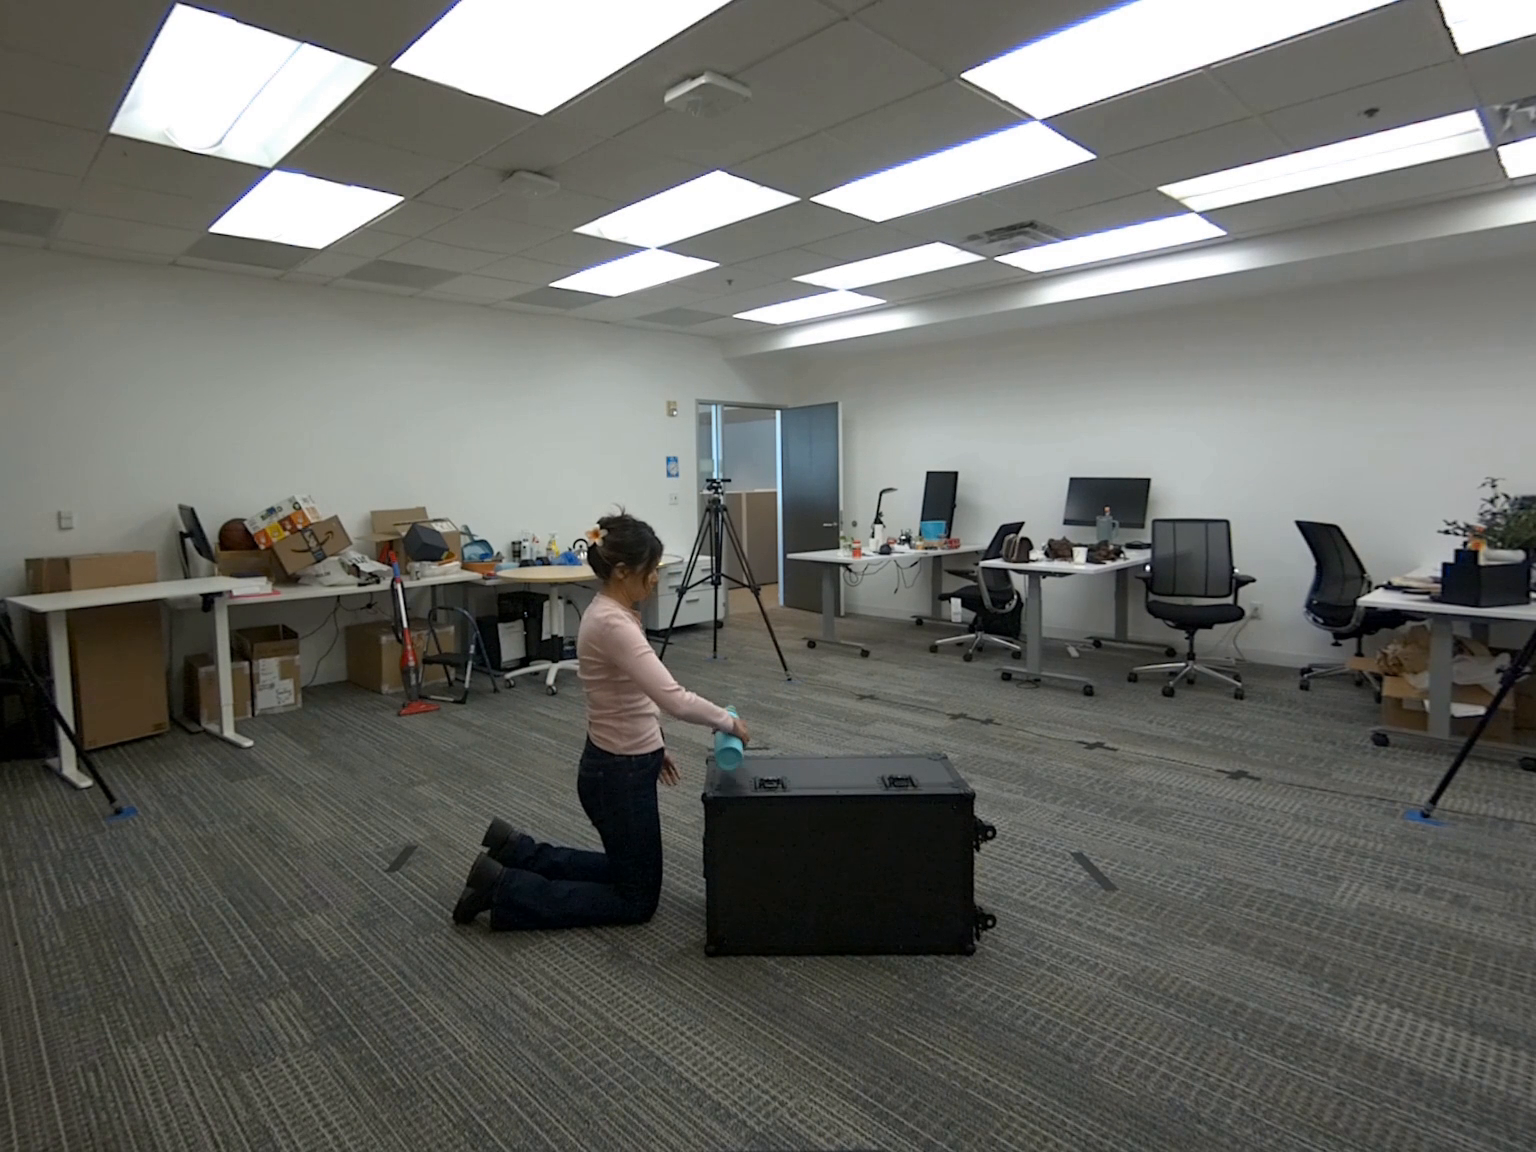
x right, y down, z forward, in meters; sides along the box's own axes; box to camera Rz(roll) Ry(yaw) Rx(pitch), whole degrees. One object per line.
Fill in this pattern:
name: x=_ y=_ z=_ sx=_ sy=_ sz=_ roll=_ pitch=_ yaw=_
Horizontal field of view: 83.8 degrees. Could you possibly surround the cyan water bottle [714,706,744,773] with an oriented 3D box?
cyan water bottle: x=-0.128 y=0.505 z=2.698 sx=0.092 sy=0.091 sz=0.287 roll=-1 pitch=16 yaw=-2
